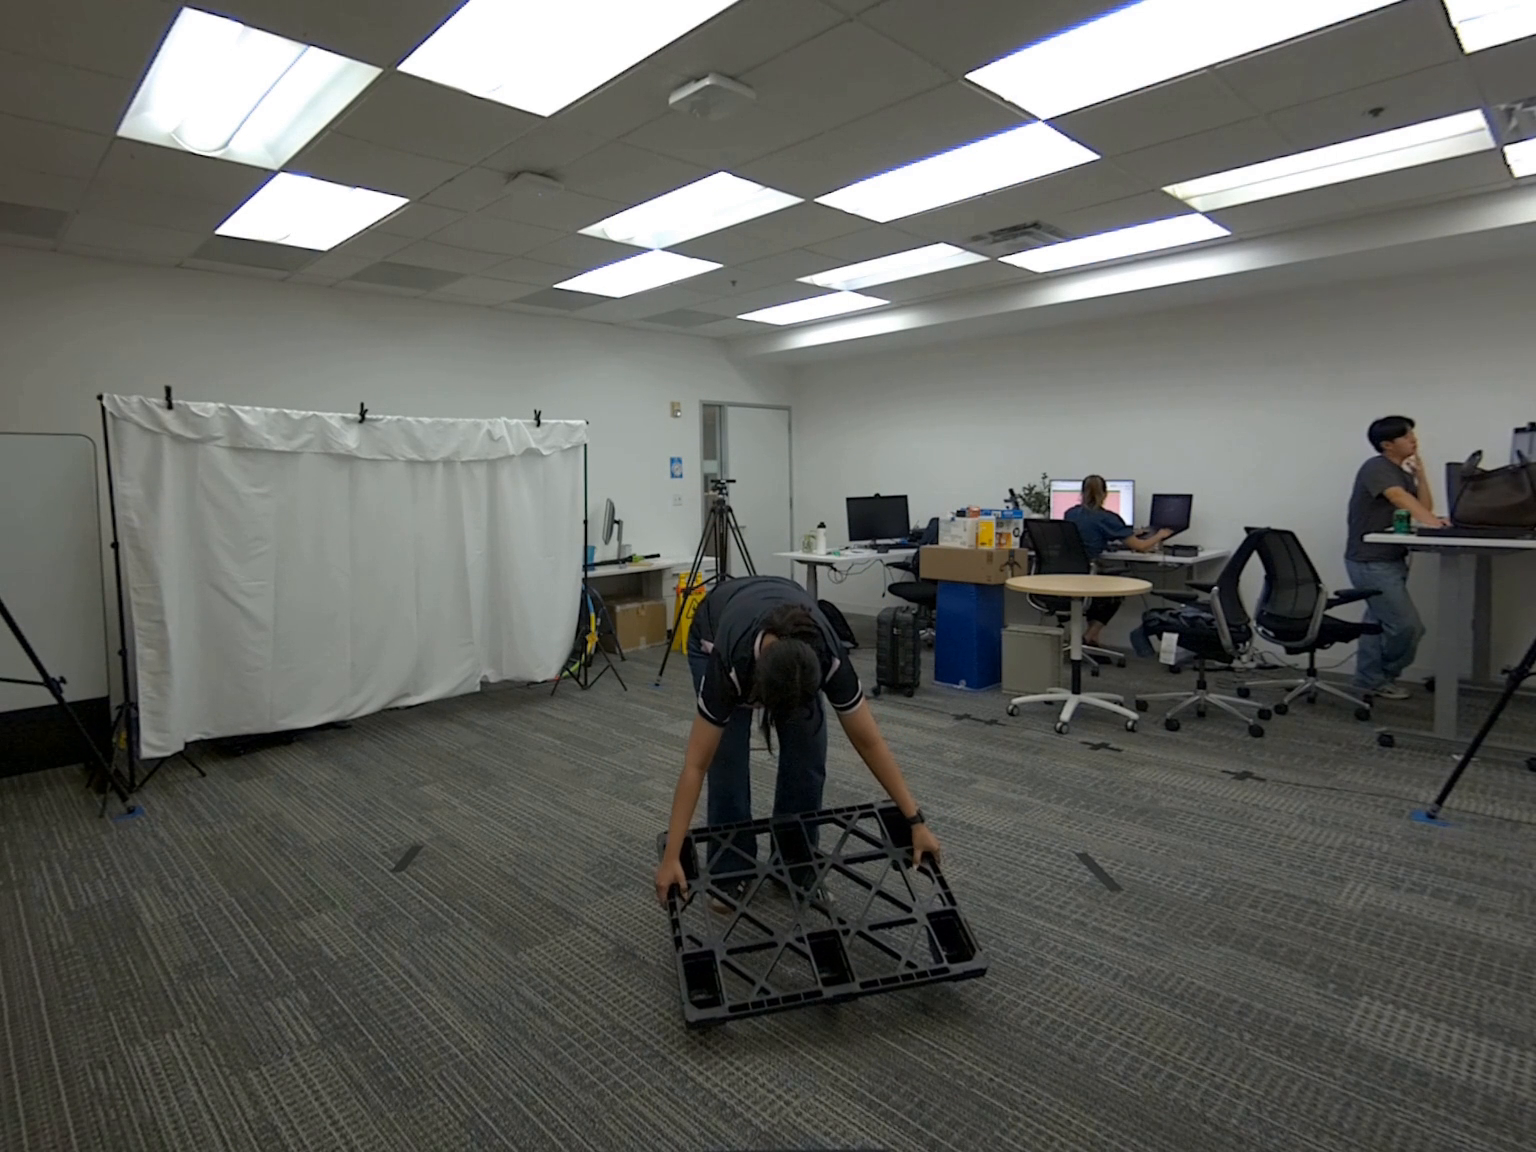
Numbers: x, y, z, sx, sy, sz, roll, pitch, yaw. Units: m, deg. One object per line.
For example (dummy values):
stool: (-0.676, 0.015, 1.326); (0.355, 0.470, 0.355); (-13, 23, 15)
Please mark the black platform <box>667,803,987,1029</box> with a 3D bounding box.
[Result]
black platform: (0.118, 0.951, 2.420); (0.798, 0.140, 0.624); (-5, 31, -10)
